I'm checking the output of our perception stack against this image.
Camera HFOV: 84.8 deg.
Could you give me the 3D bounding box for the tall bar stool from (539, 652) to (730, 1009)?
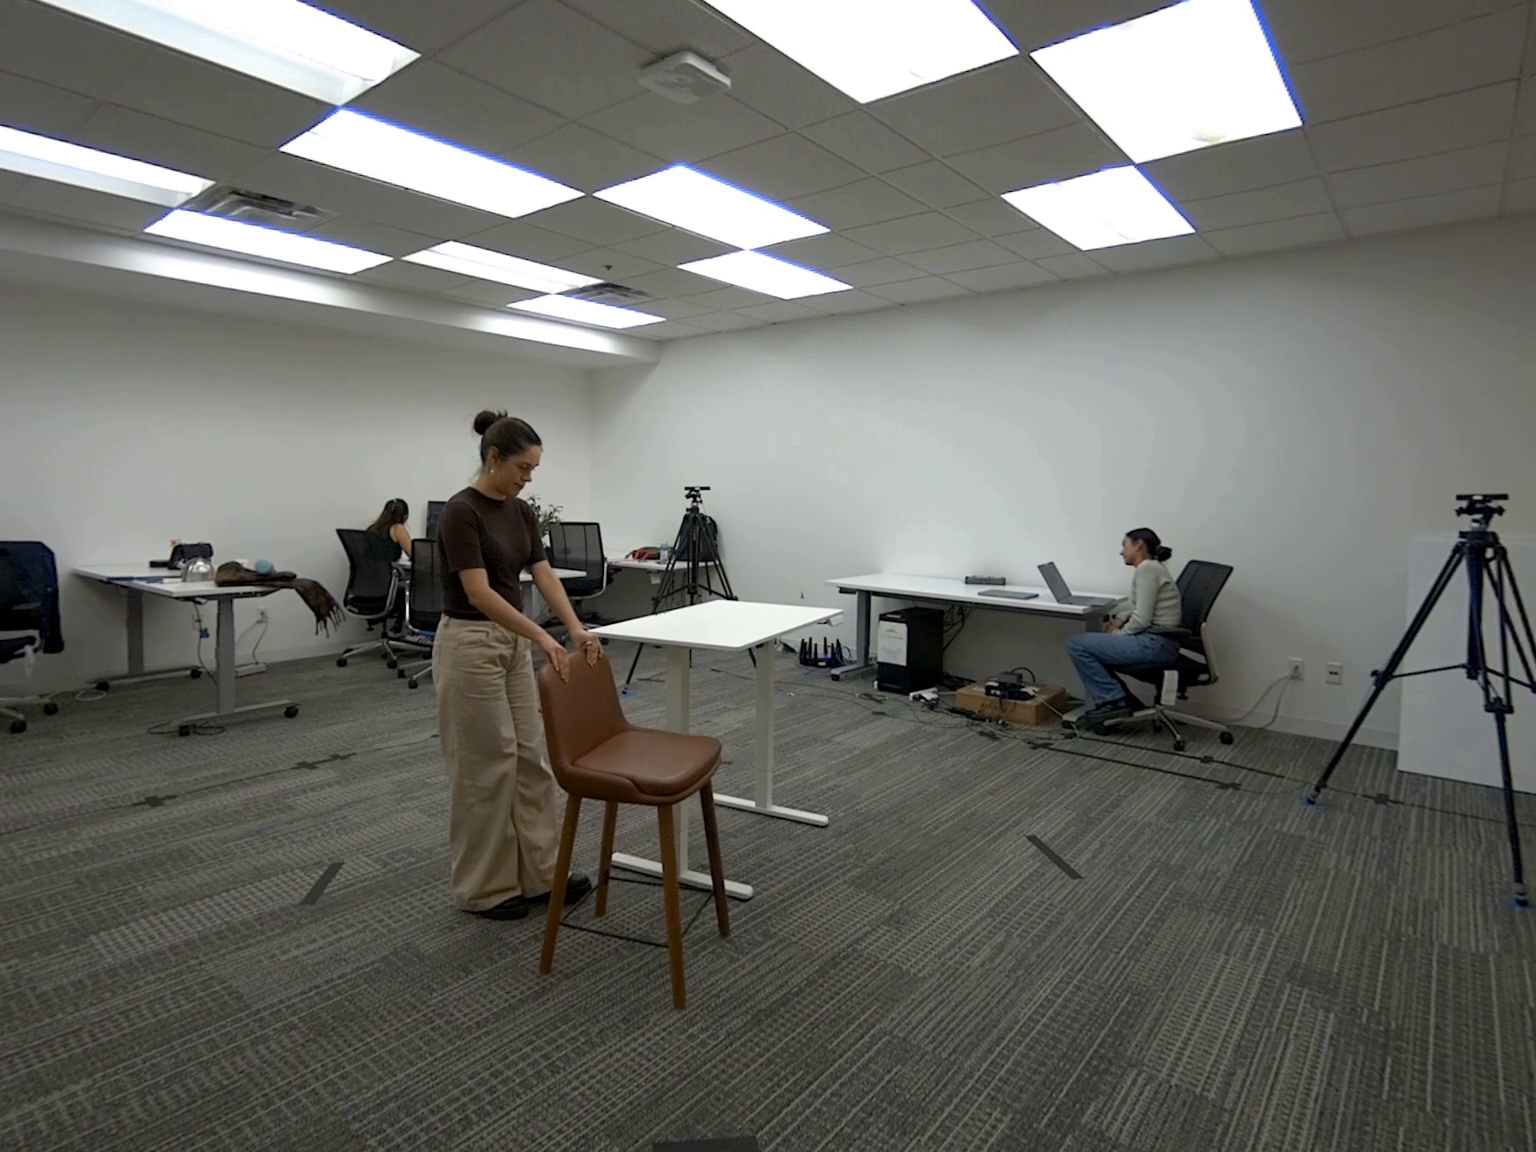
[{"bbox_3d":[-0.405,0.688,2.502,0.477,0.887,0.449,0,3,19],"label":"tall bar stool"}]
